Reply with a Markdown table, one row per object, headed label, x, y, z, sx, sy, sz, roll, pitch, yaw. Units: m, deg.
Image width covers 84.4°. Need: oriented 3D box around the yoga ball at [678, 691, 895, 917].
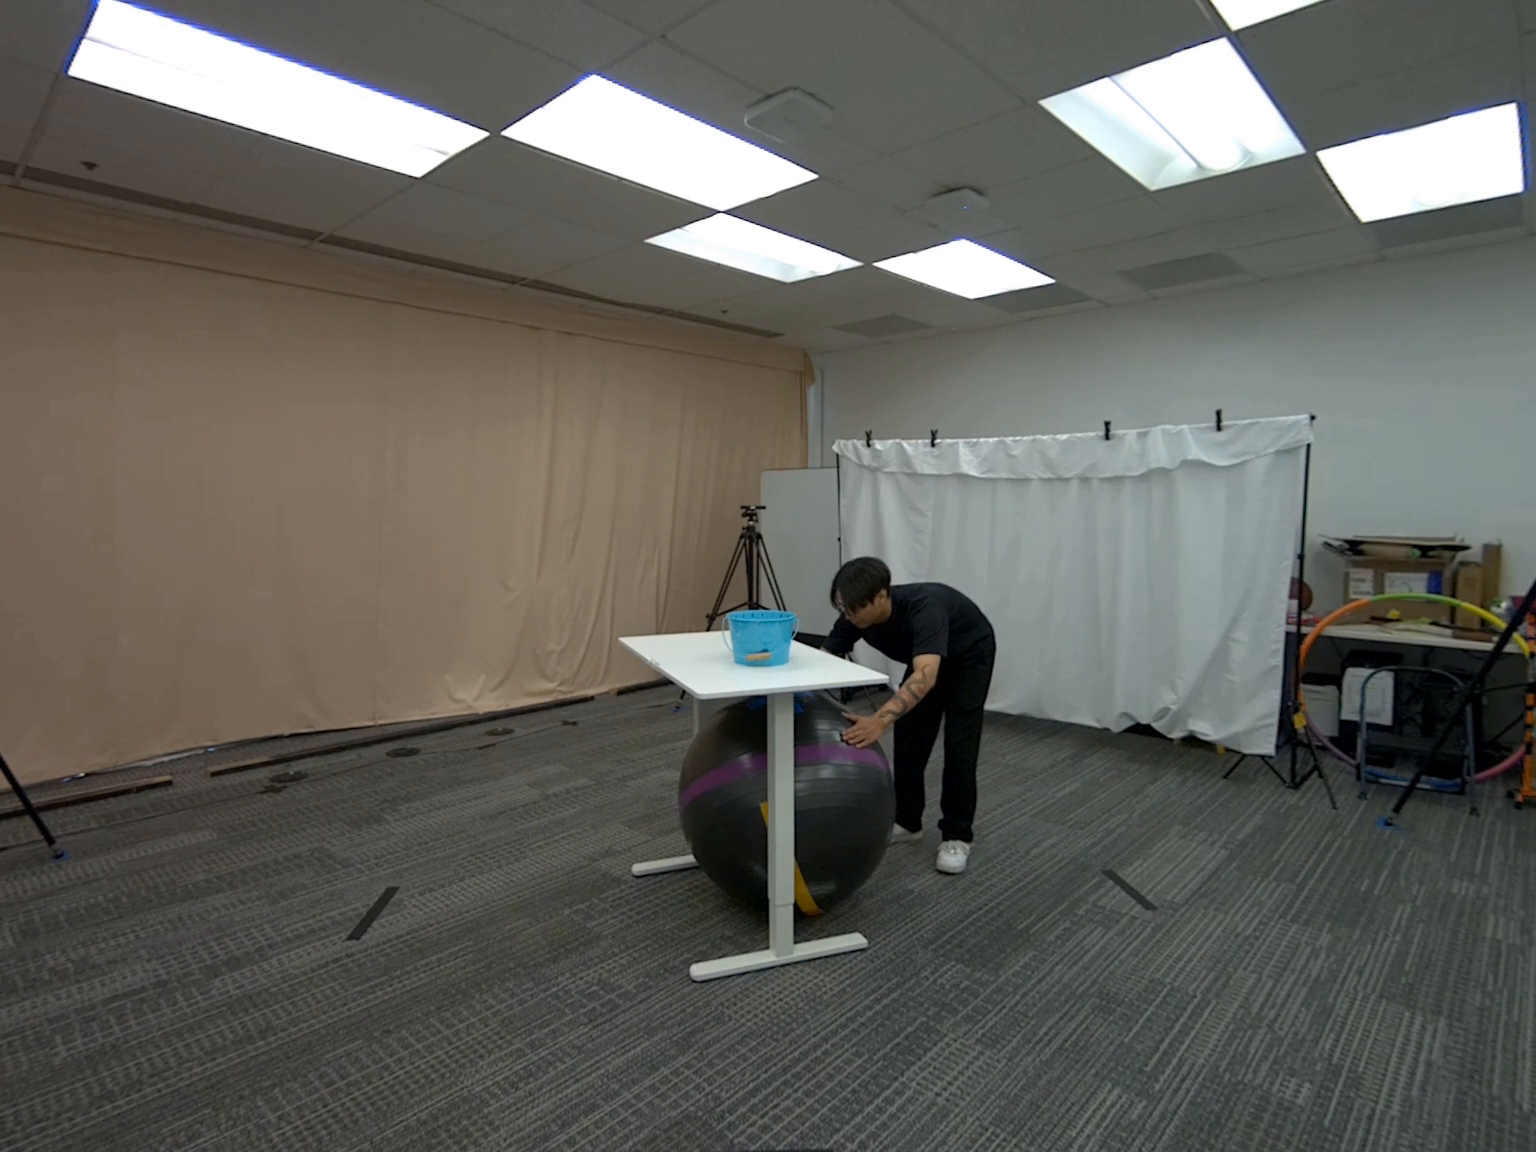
| label | x | y | z | sx | sy | sz | roll | pitch | yaw |
| --- | --- | --- | --- | --- | --- | --- | --- | --- | --- |
| yoga ball | 0.062 | 0.783 | 2.961 | 0.757 | 0.756 | 0.760 | 0 | 4 | -2 |
